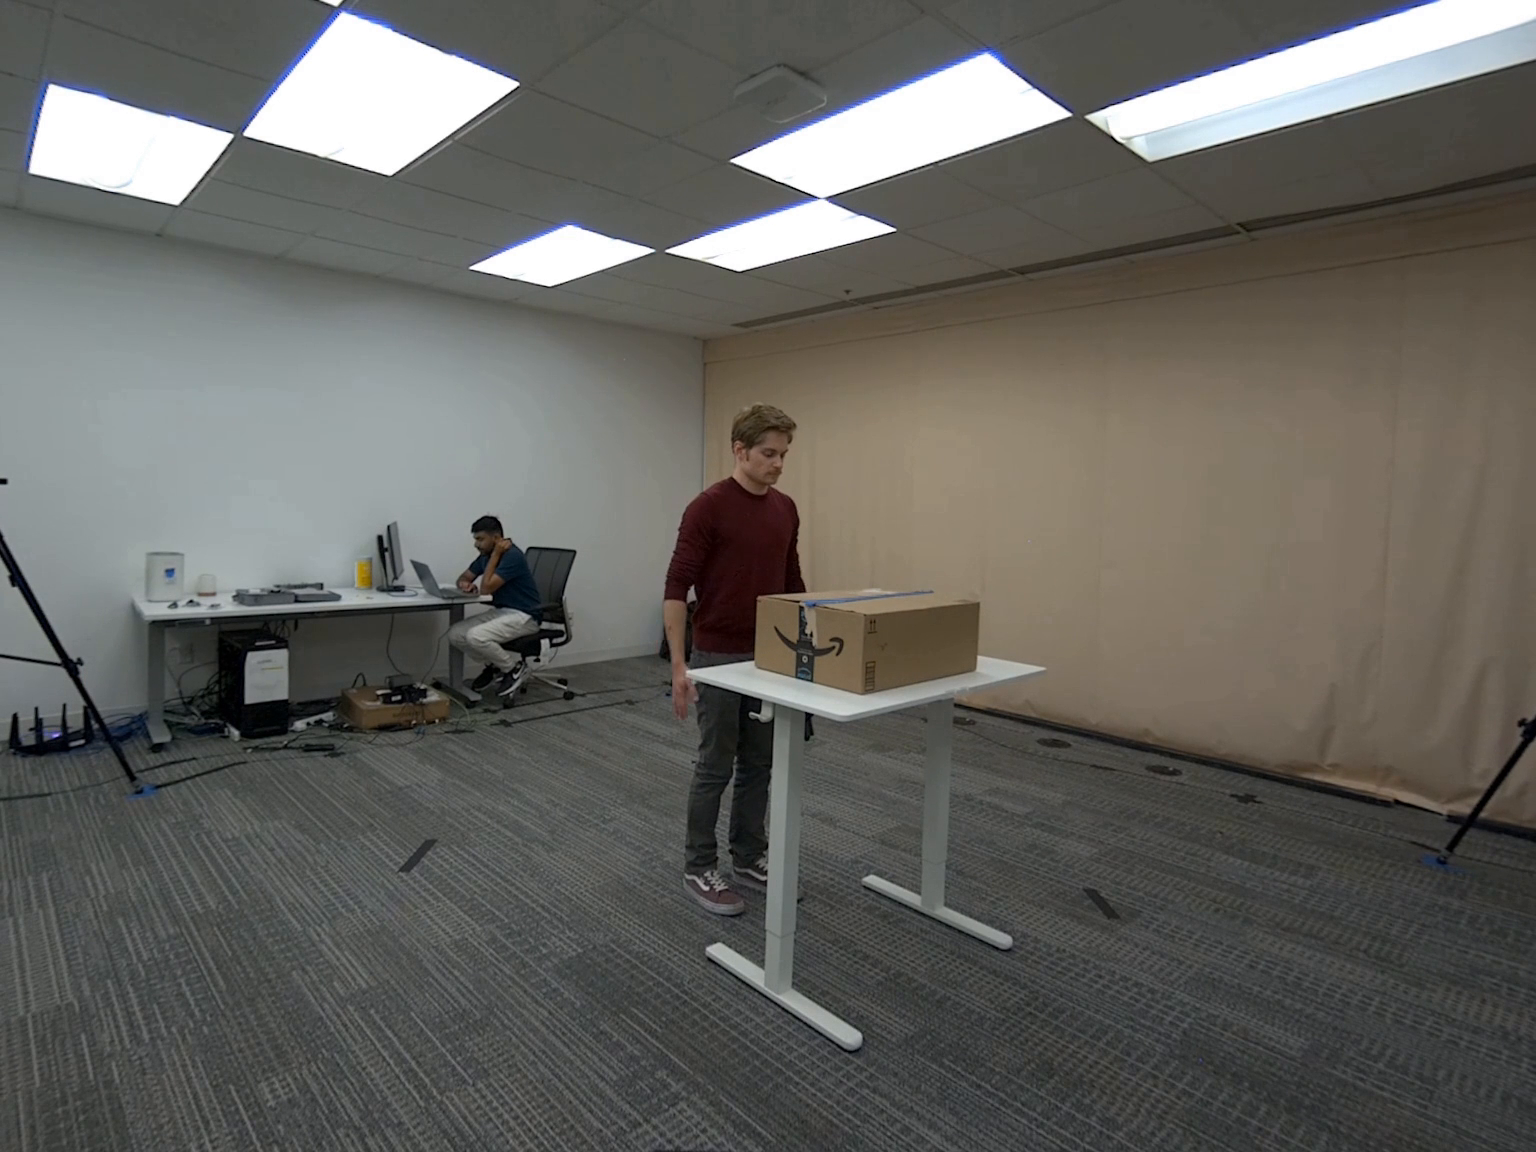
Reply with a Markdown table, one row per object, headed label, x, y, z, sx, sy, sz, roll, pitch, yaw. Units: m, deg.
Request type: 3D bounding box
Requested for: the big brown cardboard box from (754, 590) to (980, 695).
| label | x | y | z | sx | sy | sz | roll | pitch | yaw |
| --- | --- | --- | --- | --- | --- | --- | --- | --- | --- |
| big brown cardboard box | 0.301 | 0.174 | 2.553 | 0.576 | 0.232 | 0.428 | -4 | 8 | -44 |
